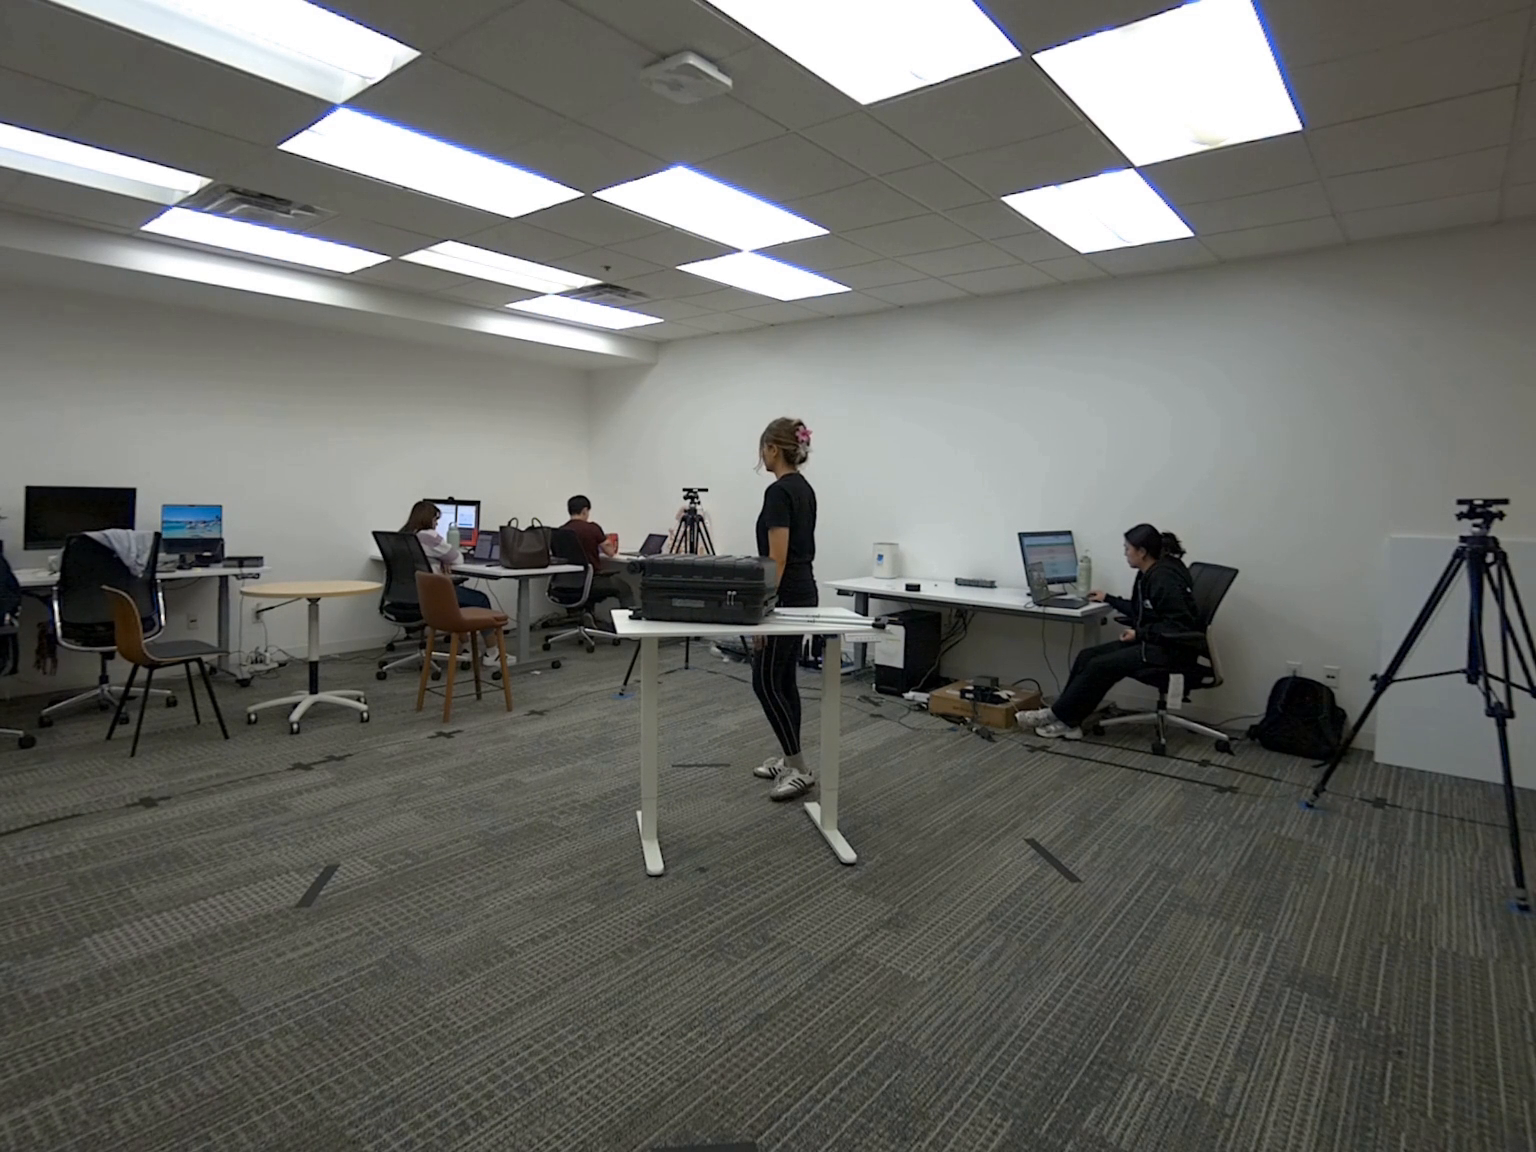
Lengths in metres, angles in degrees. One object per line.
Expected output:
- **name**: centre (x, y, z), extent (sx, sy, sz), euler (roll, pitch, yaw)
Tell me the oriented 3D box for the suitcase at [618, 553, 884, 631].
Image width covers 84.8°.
- **suitcase**: centre (-0.059, 0.047, 3.300), extent (0.993, 0.257, 0.379), euler (1, 2, 14)
